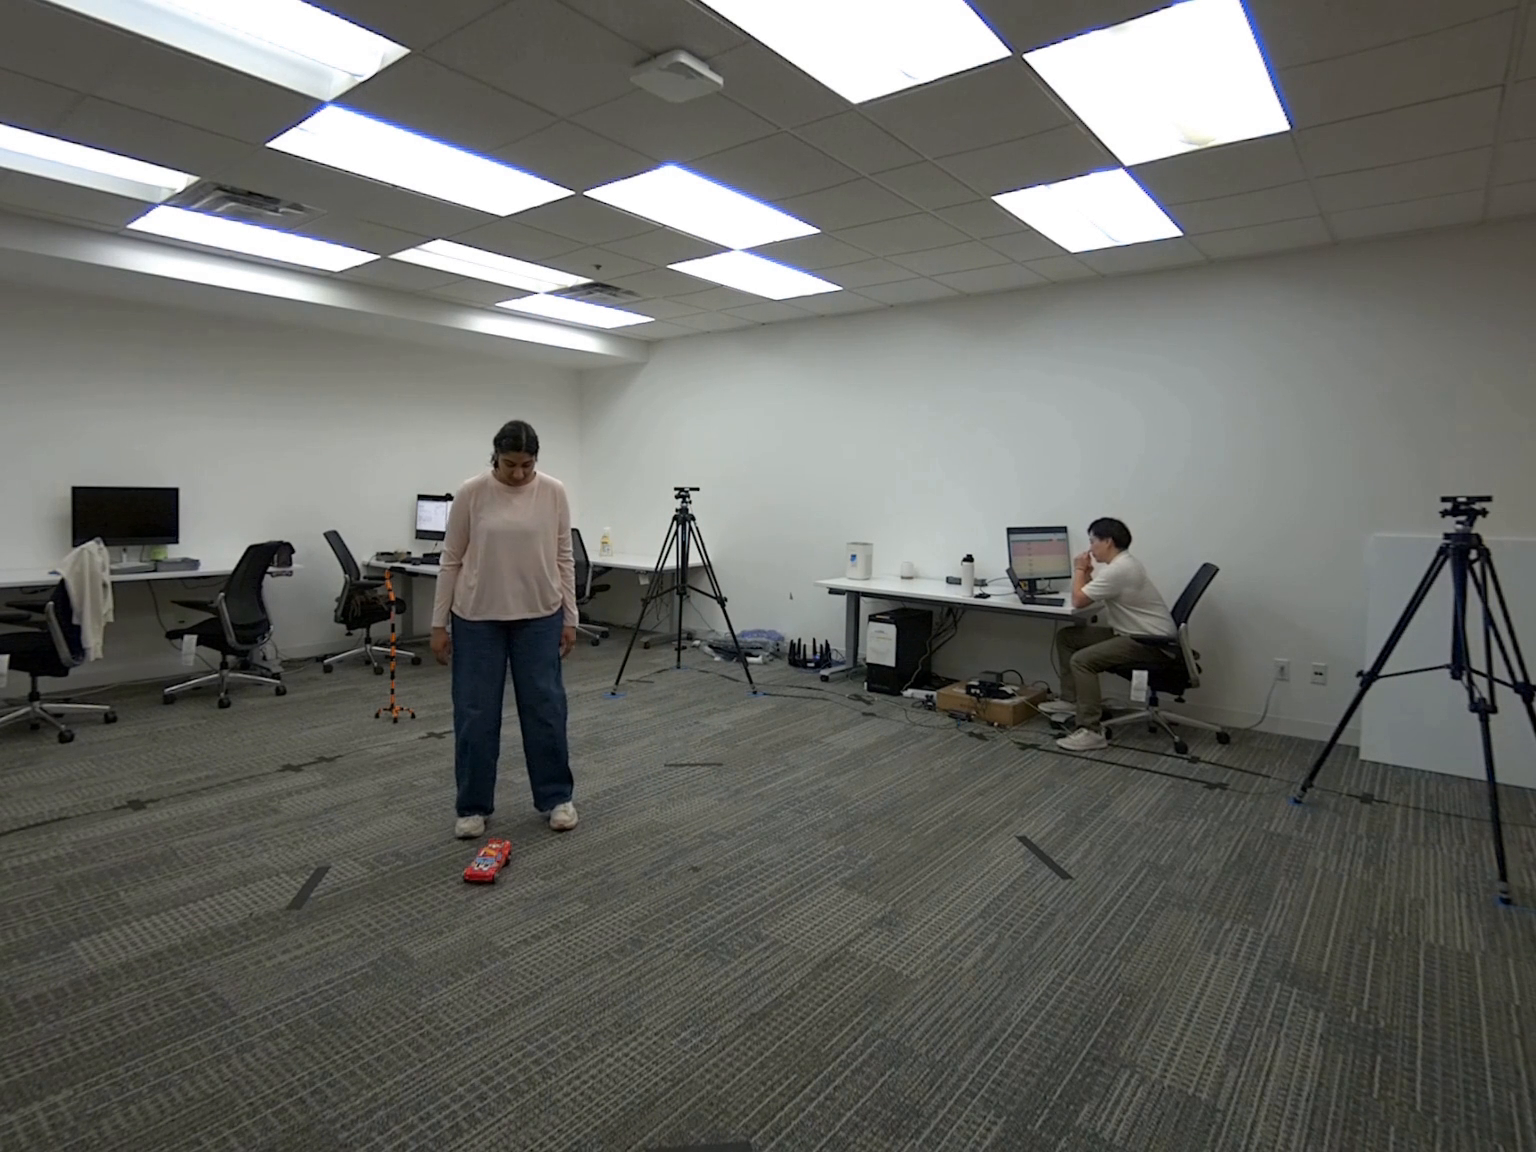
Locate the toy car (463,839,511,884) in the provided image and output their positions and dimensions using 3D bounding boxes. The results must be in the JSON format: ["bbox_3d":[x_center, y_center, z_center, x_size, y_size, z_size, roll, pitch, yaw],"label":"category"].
[{"bbox_3d":[-1.021,1.029,3.066,0.130,0.082,0.258,1,18,1],"label":"toy car"}]
